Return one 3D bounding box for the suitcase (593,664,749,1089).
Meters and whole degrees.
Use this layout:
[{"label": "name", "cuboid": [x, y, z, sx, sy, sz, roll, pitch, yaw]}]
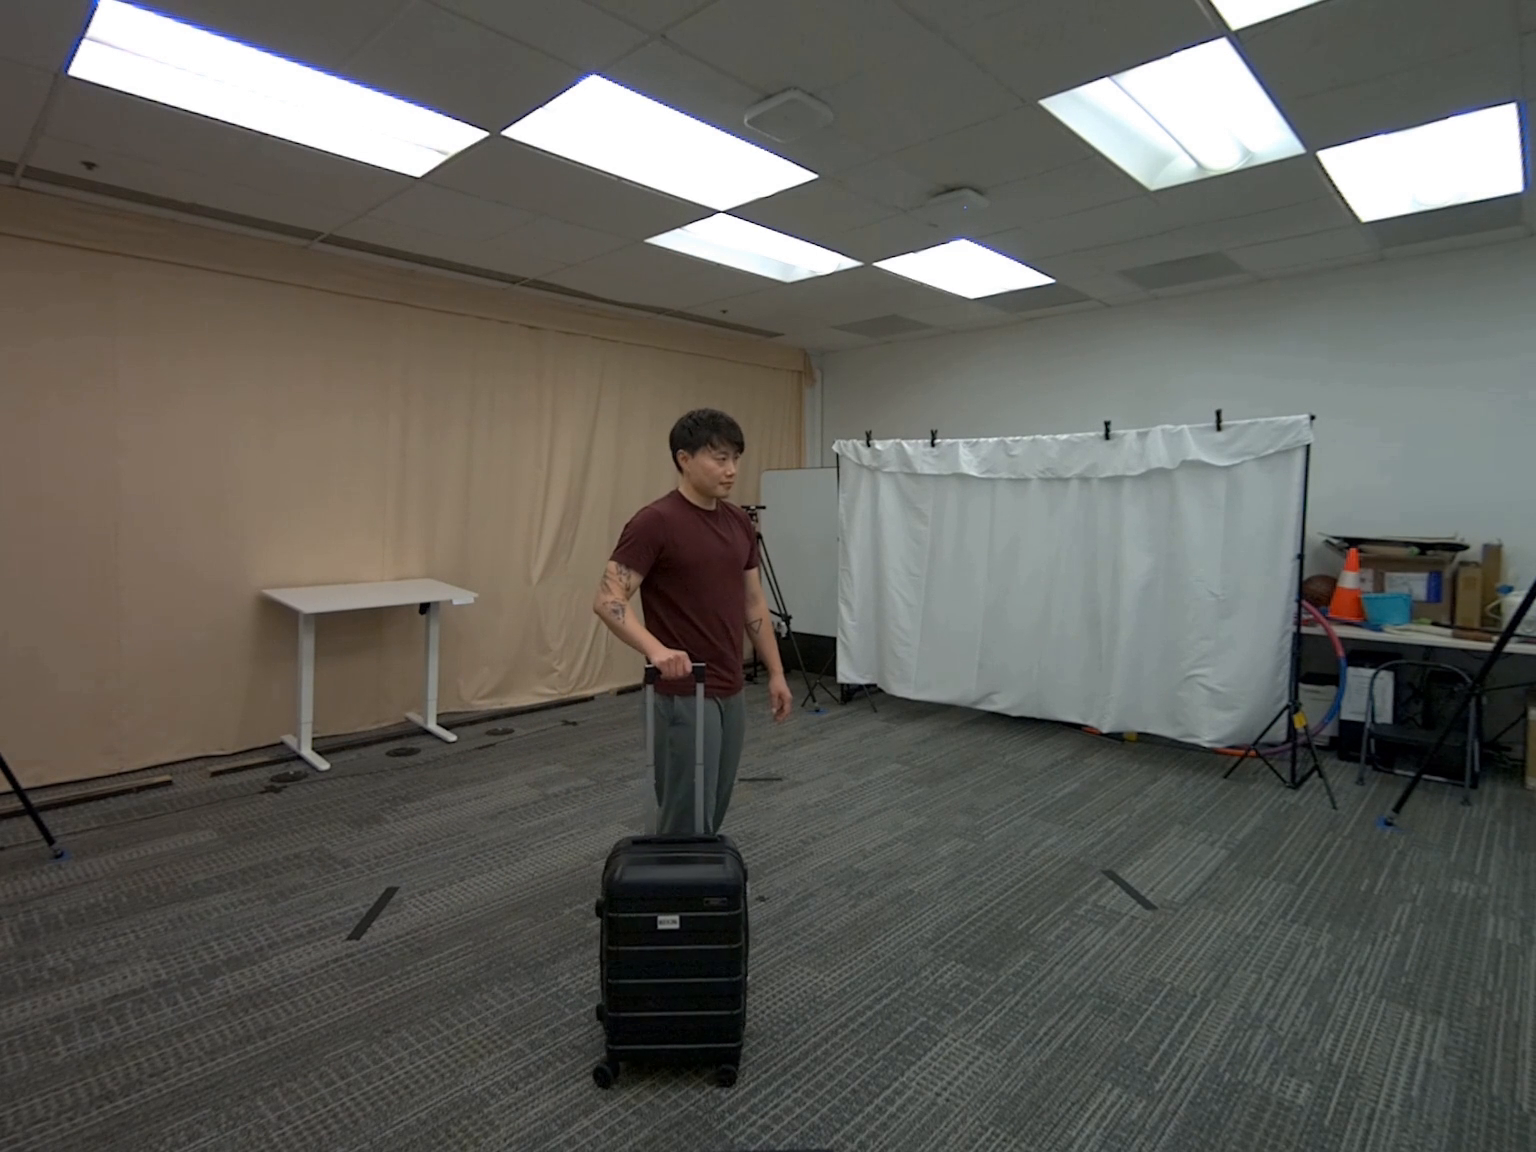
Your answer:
[{"label": "suitcase", "cuboid": [-0.231, 0.743, 2.105, 0.383, 0.976, 0.258, 1, 4, -2]}]
